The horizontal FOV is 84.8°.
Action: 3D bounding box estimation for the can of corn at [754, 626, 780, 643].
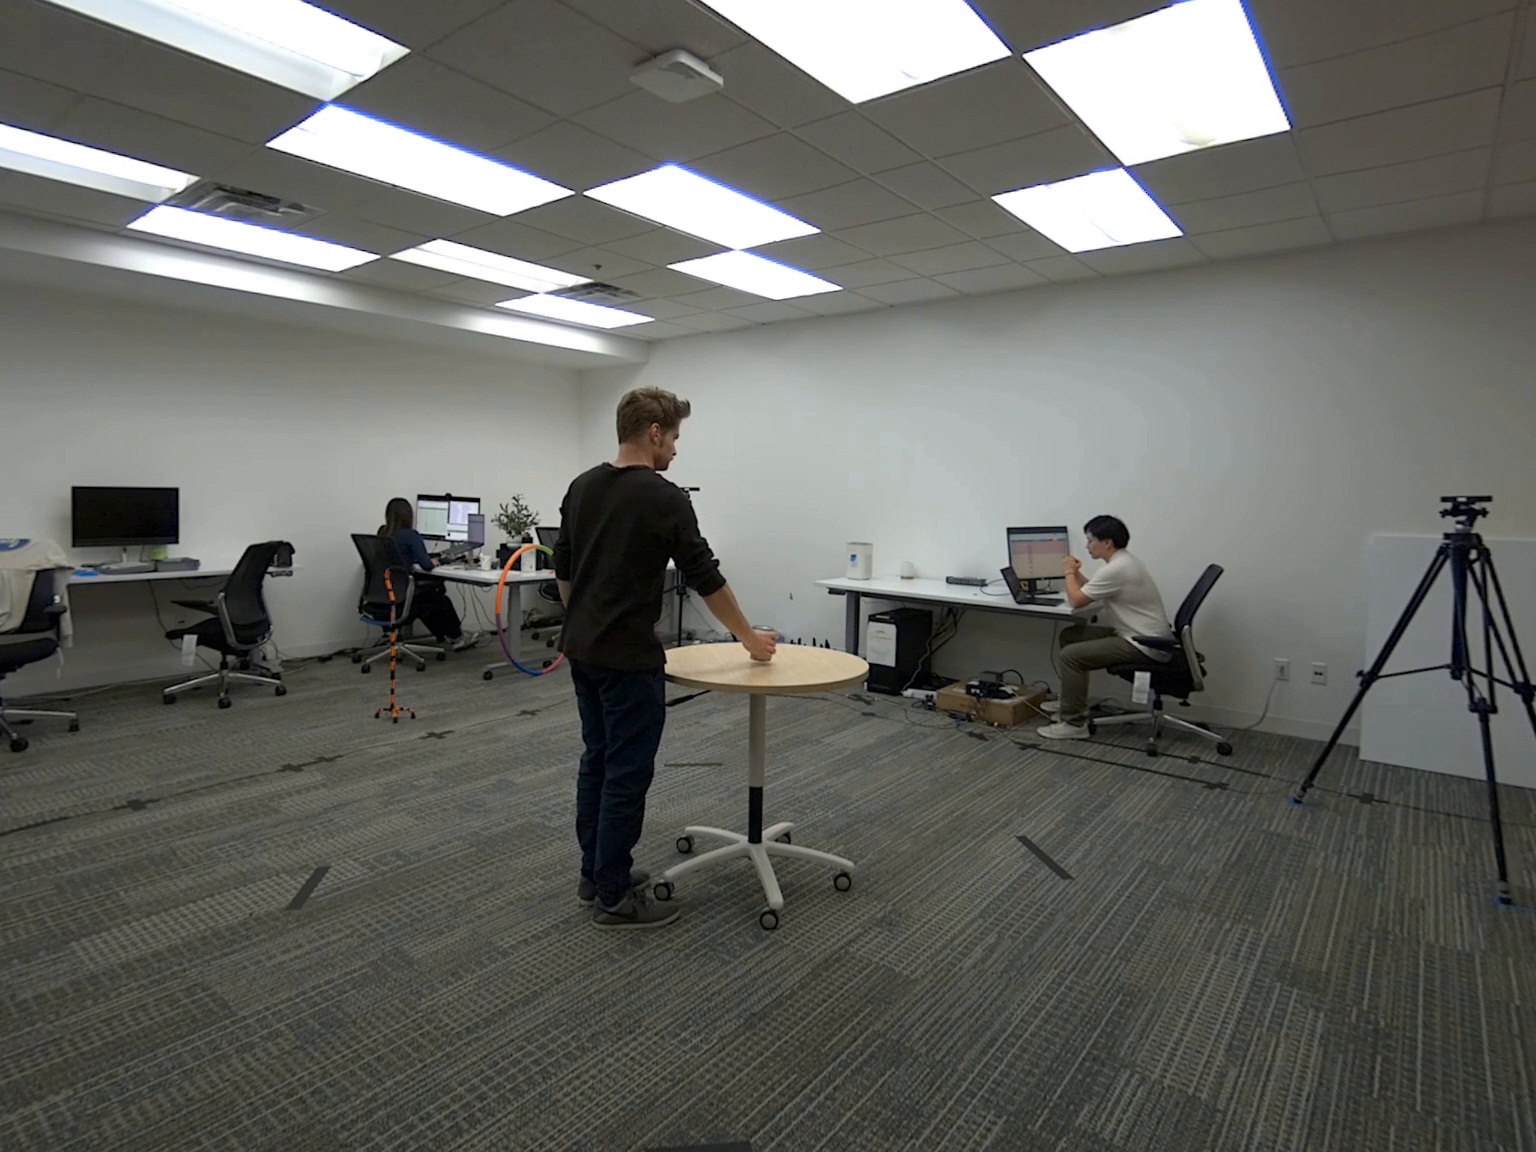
[{"bbox_3d":[-0.031,0.237,2.947,0.074,0.110,0.075,5,5,-2],"label":"can of corn"}]
